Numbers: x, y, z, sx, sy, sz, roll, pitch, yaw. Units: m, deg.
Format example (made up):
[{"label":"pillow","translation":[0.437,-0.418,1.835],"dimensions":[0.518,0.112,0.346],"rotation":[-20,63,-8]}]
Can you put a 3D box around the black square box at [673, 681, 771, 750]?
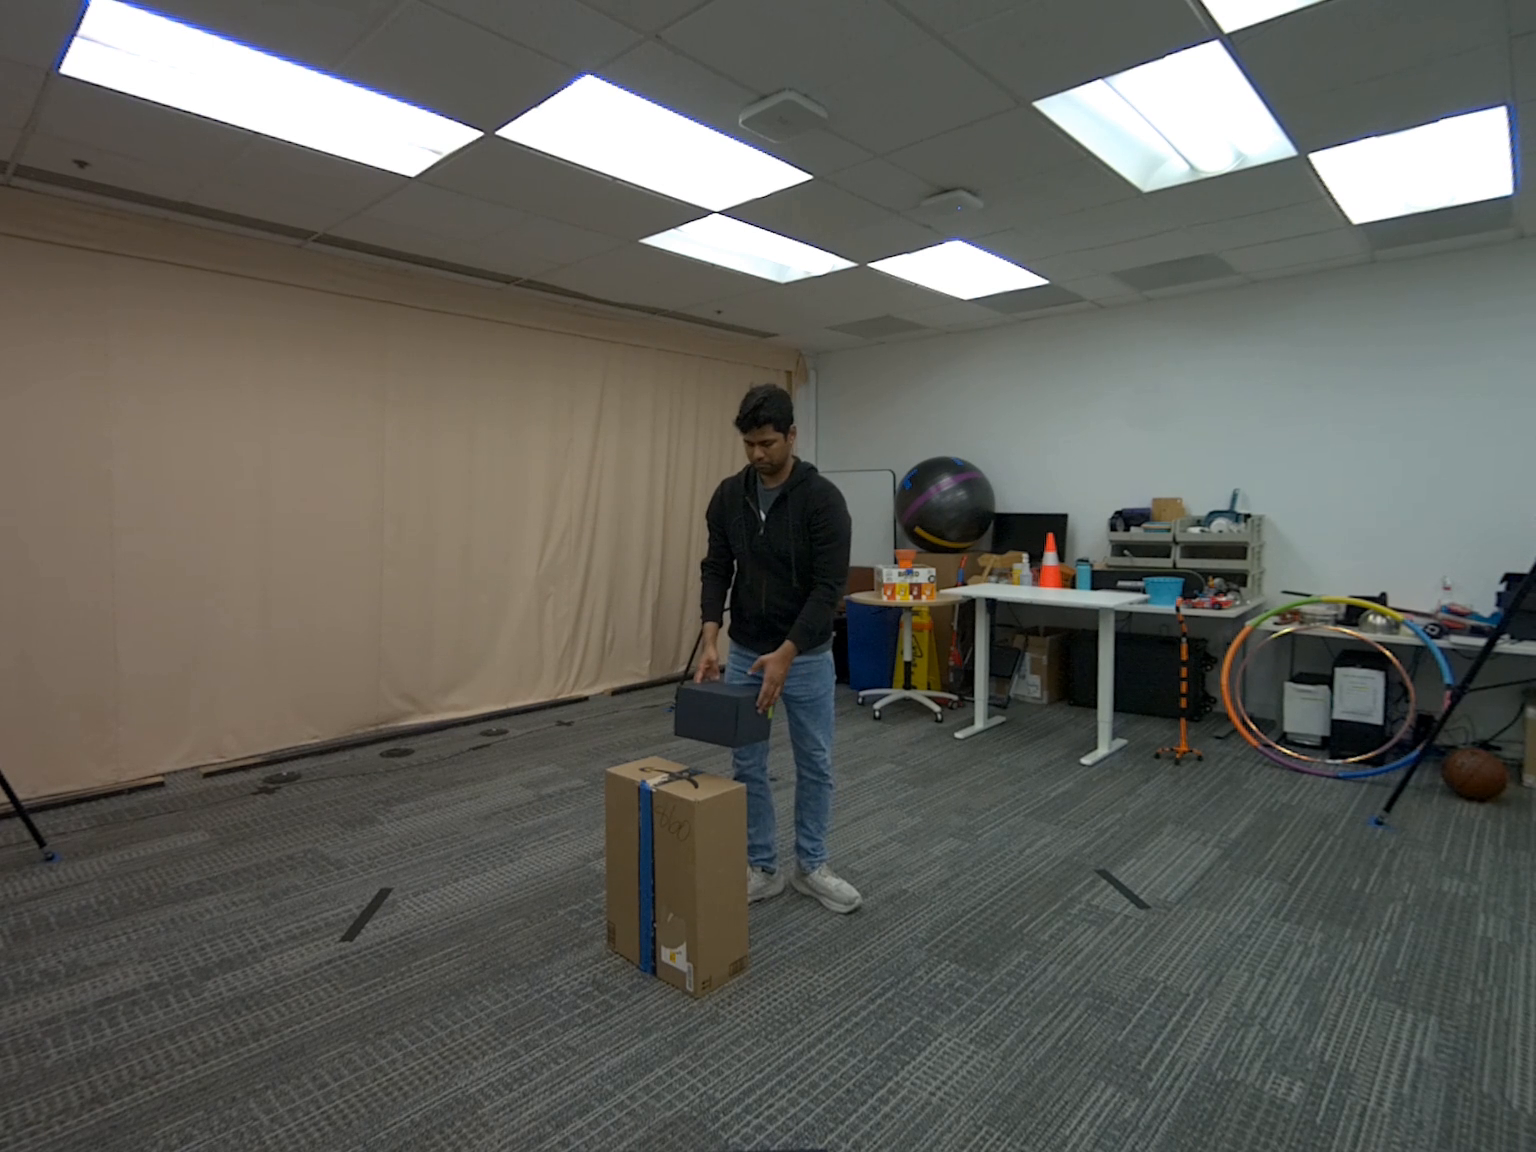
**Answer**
[{"label":"black square box","translation":[-0.126,0.432,2.649],"dimensions":[0.235,0.156,0.210],"rotation":[4,0,31]}]
